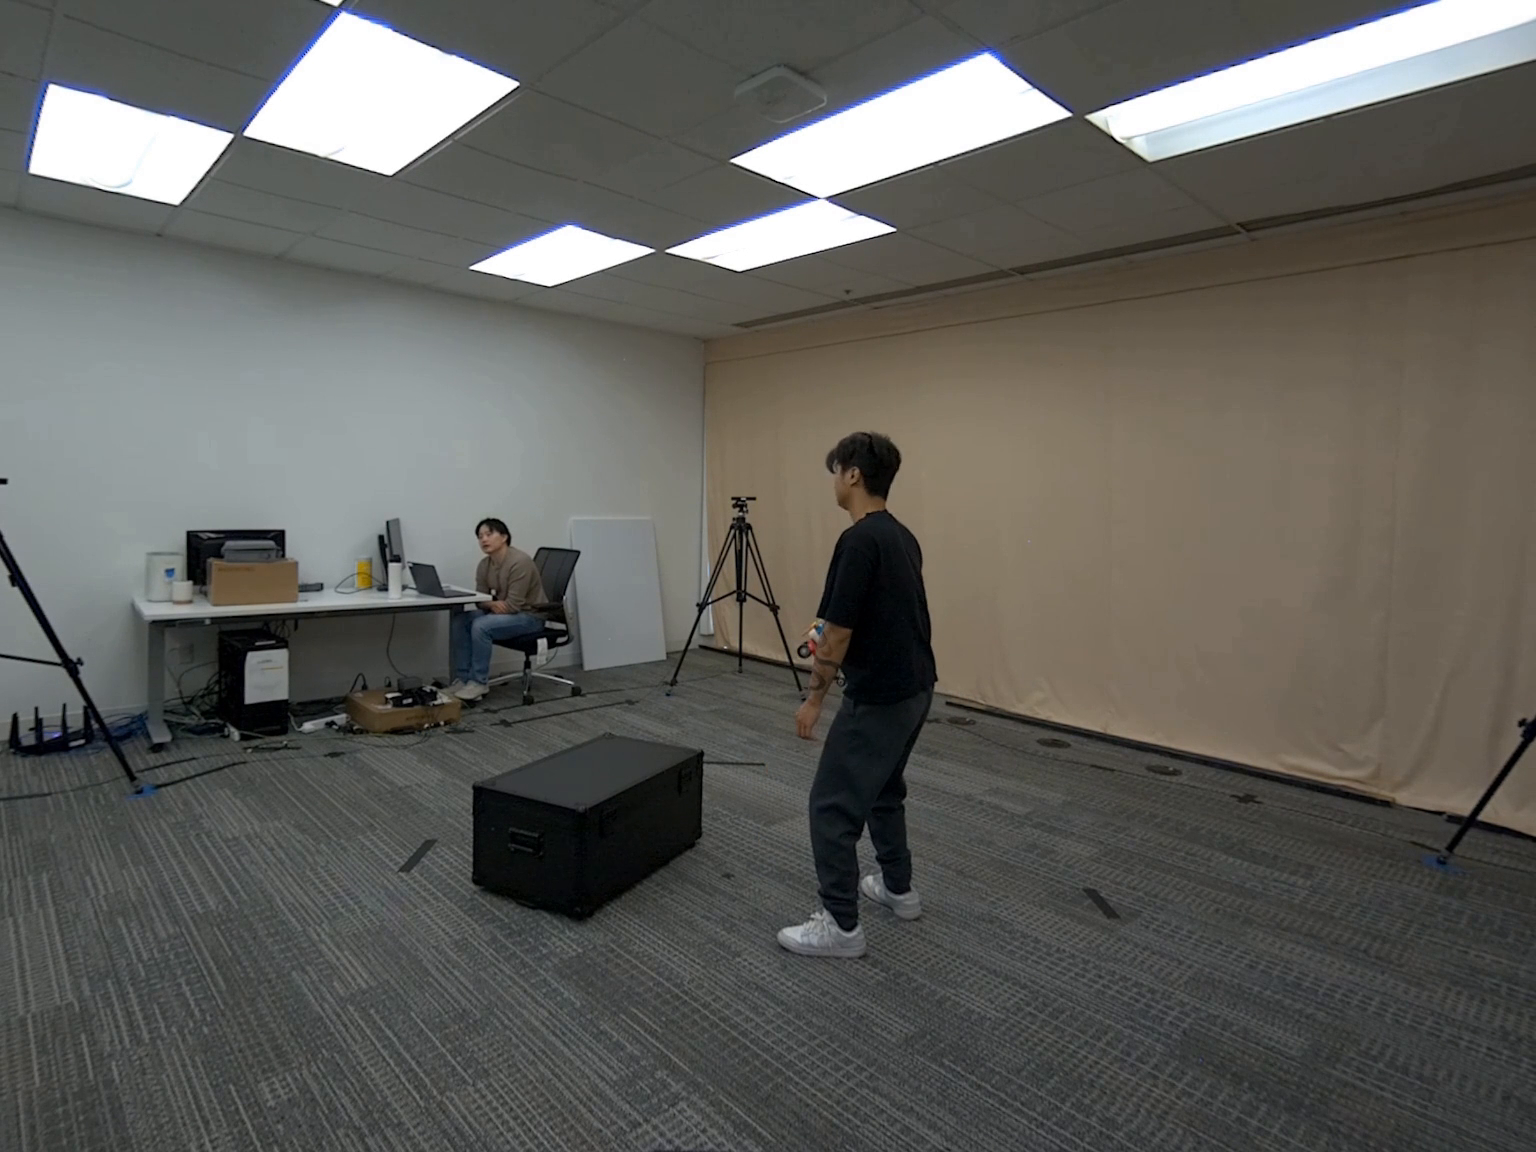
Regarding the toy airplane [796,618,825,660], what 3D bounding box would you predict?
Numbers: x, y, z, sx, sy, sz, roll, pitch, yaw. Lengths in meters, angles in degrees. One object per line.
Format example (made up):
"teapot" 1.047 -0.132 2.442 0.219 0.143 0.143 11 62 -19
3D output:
"toy airplane" 0.233 0.288 3.176 0.254 0.156 0.256 32 9 -20
